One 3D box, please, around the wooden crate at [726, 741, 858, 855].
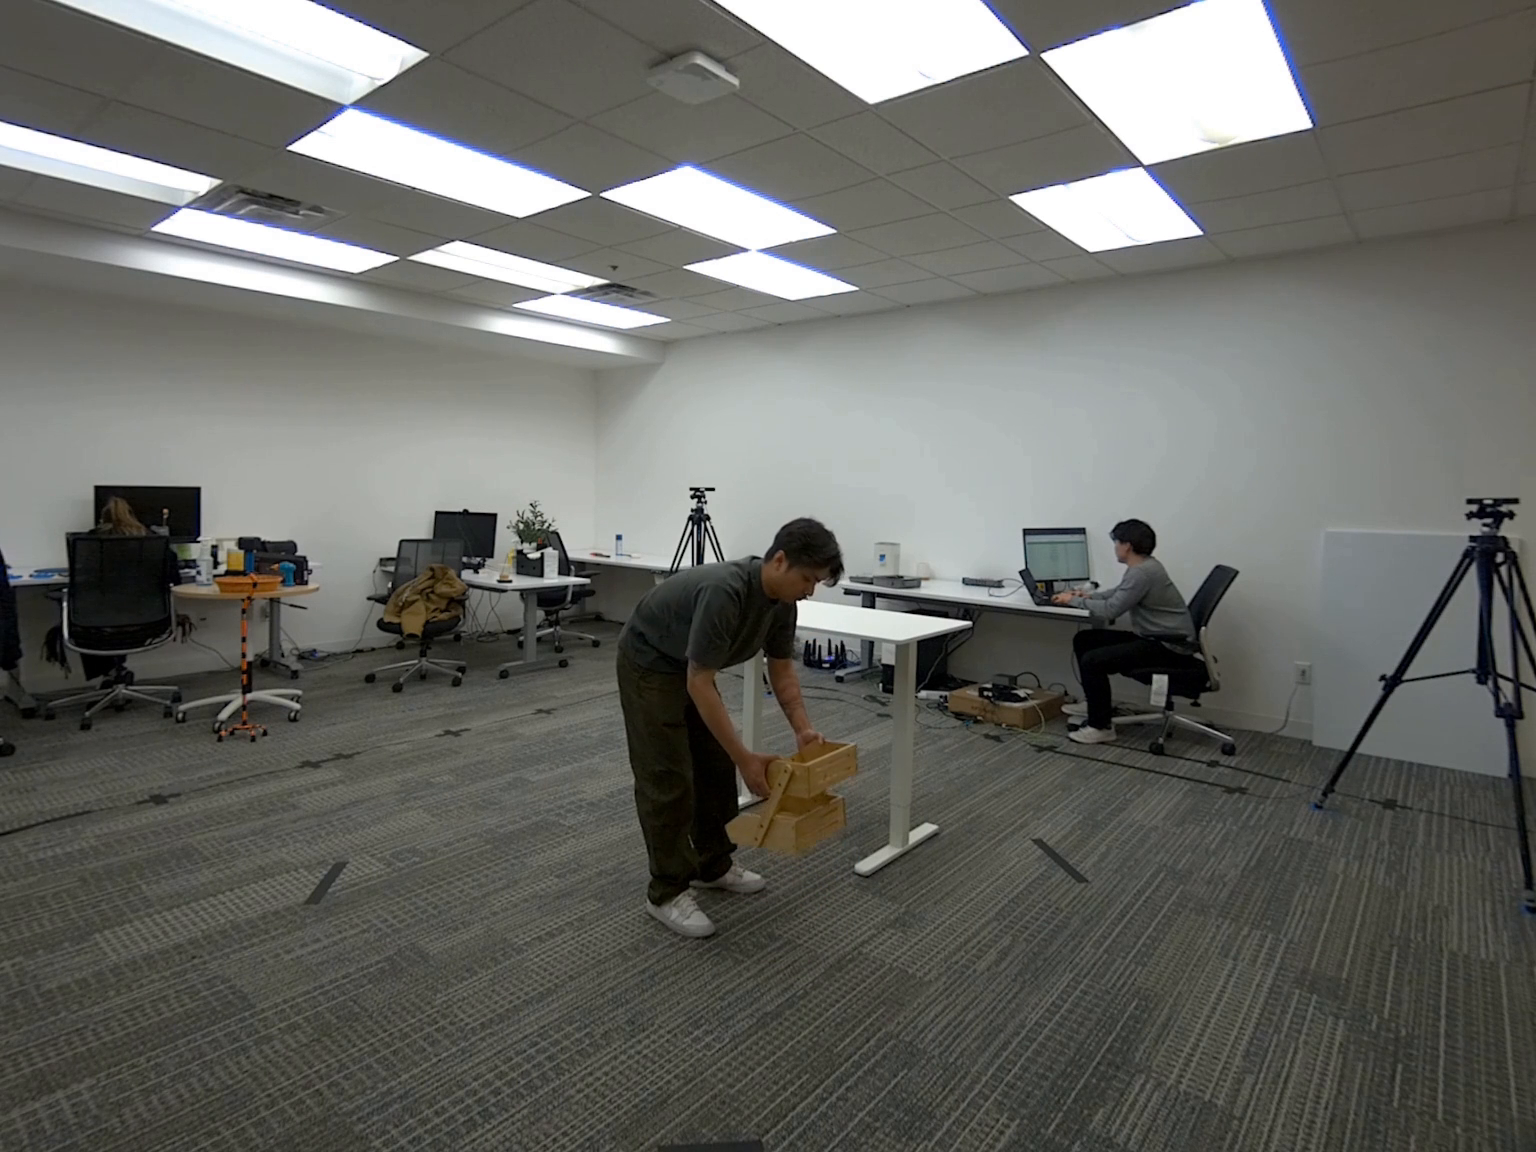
[{"bbox_3d":[0.071,0.651,2.601,0.311,0.273,0.315,-2,1,35],"label":"wooden crate"}]
